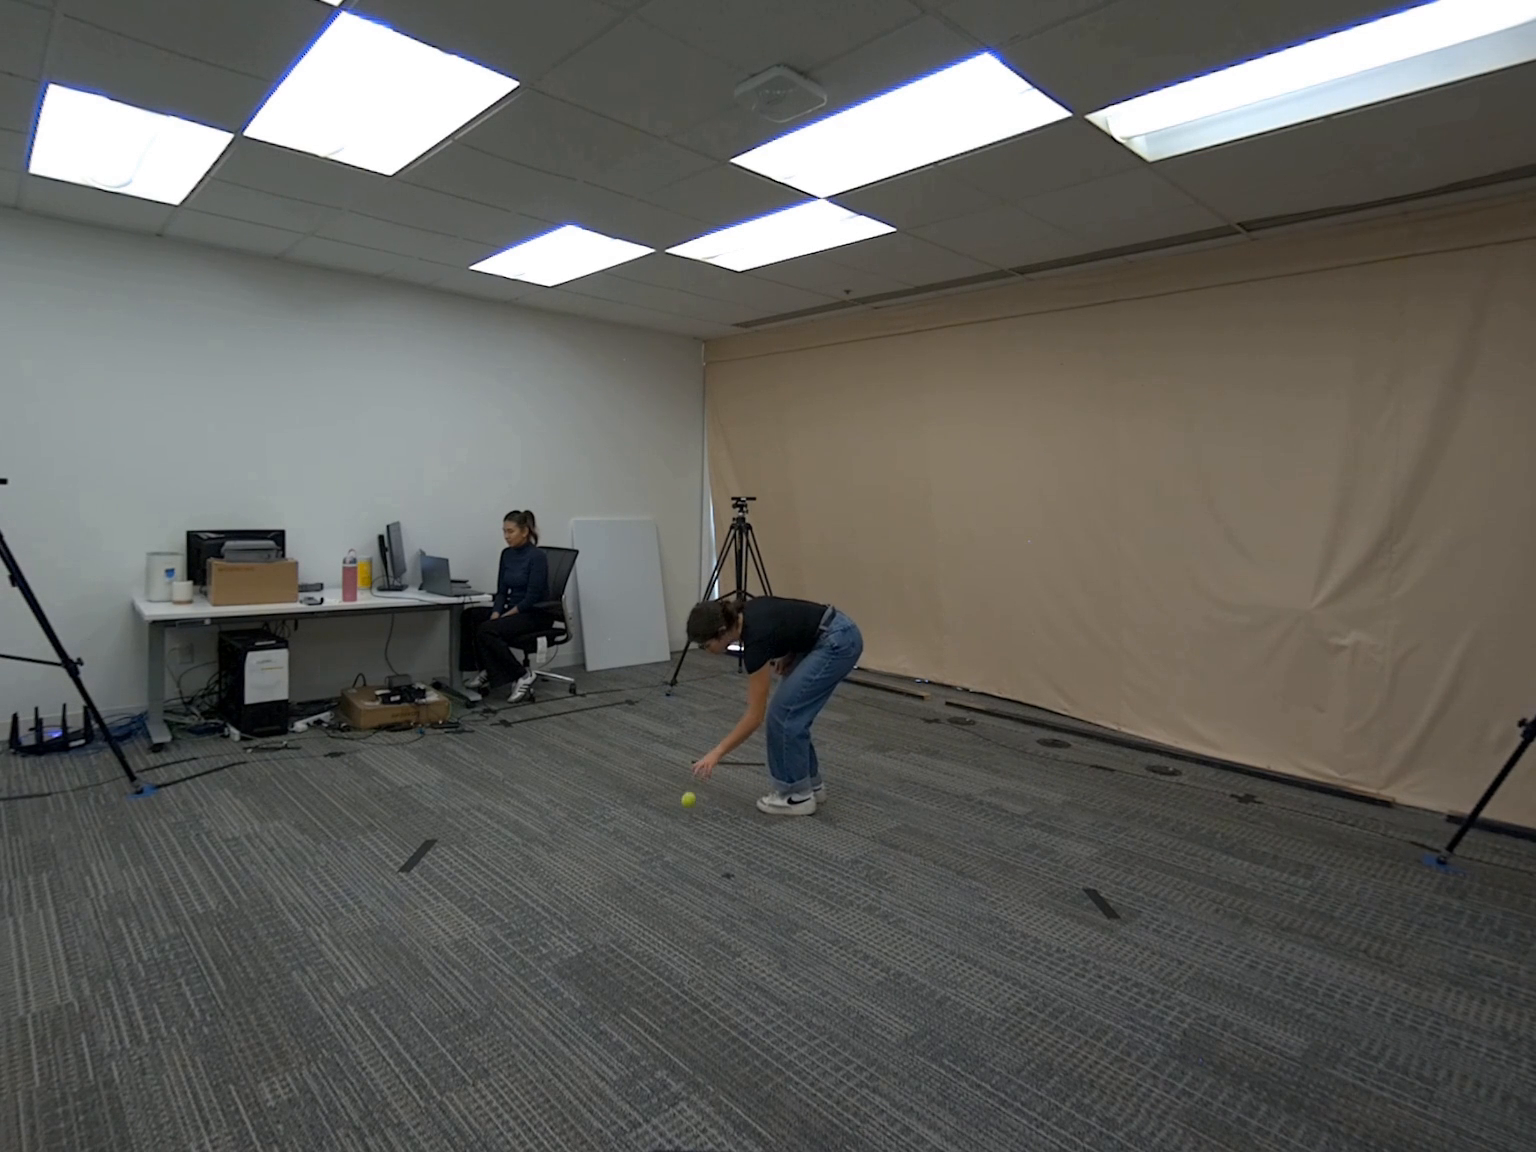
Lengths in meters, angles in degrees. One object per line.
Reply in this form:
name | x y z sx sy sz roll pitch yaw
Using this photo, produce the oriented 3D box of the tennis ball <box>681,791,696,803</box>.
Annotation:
tennis ball | -0.344 0.896 3.637 0.066 0.066 0.067 1 4 -1
